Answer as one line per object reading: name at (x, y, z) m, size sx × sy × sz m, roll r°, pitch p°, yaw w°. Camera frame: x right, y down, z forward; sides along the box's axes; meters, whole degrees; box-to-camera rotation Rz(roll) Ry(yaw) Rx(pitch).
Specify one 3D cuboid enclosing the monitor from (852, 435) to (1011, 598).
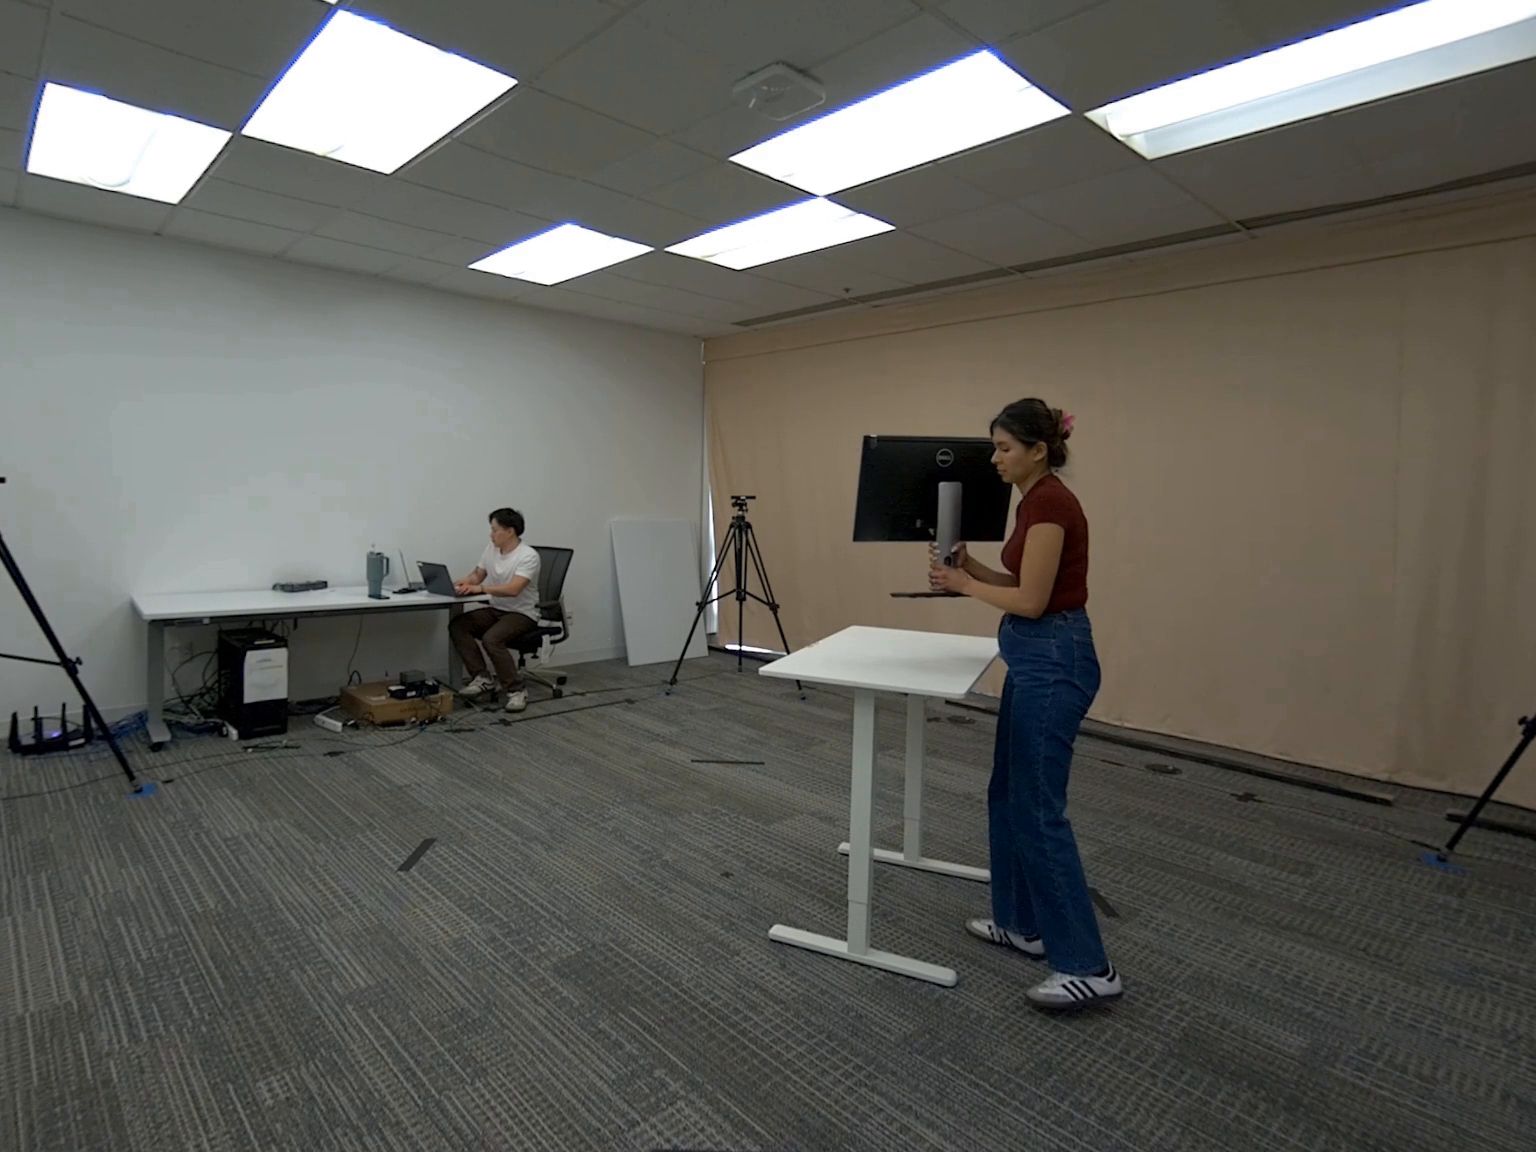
monitor at (0.554, -0.187, 2.722) m, size 0.533 × 0.520 × 0.190 m, roll 0°, pitch 5°, yaw -13°
